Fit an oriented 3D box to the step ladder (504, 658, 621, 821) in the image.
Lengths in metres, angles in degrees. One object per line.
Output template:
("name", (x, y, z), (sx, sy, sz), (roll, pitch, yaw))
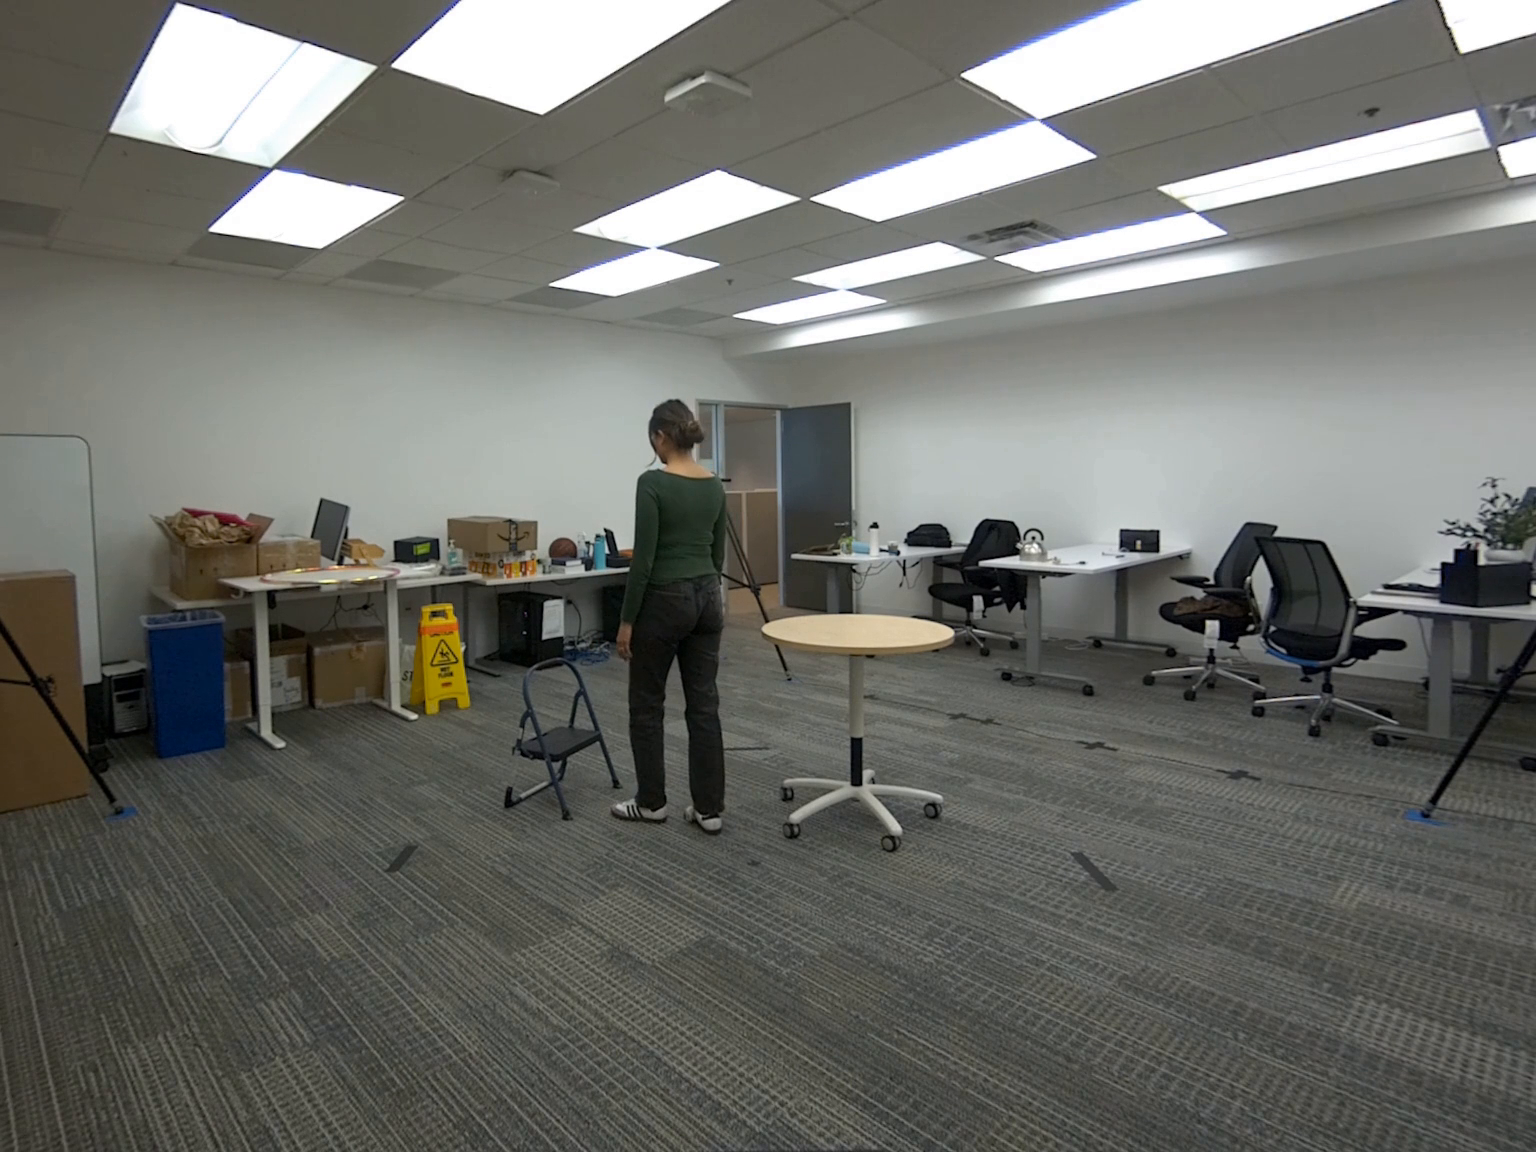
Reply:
("step ladder", (-0.911, 0.682, 3.785), (0.357, 0.604, 0.423), (0, 4, 23))
